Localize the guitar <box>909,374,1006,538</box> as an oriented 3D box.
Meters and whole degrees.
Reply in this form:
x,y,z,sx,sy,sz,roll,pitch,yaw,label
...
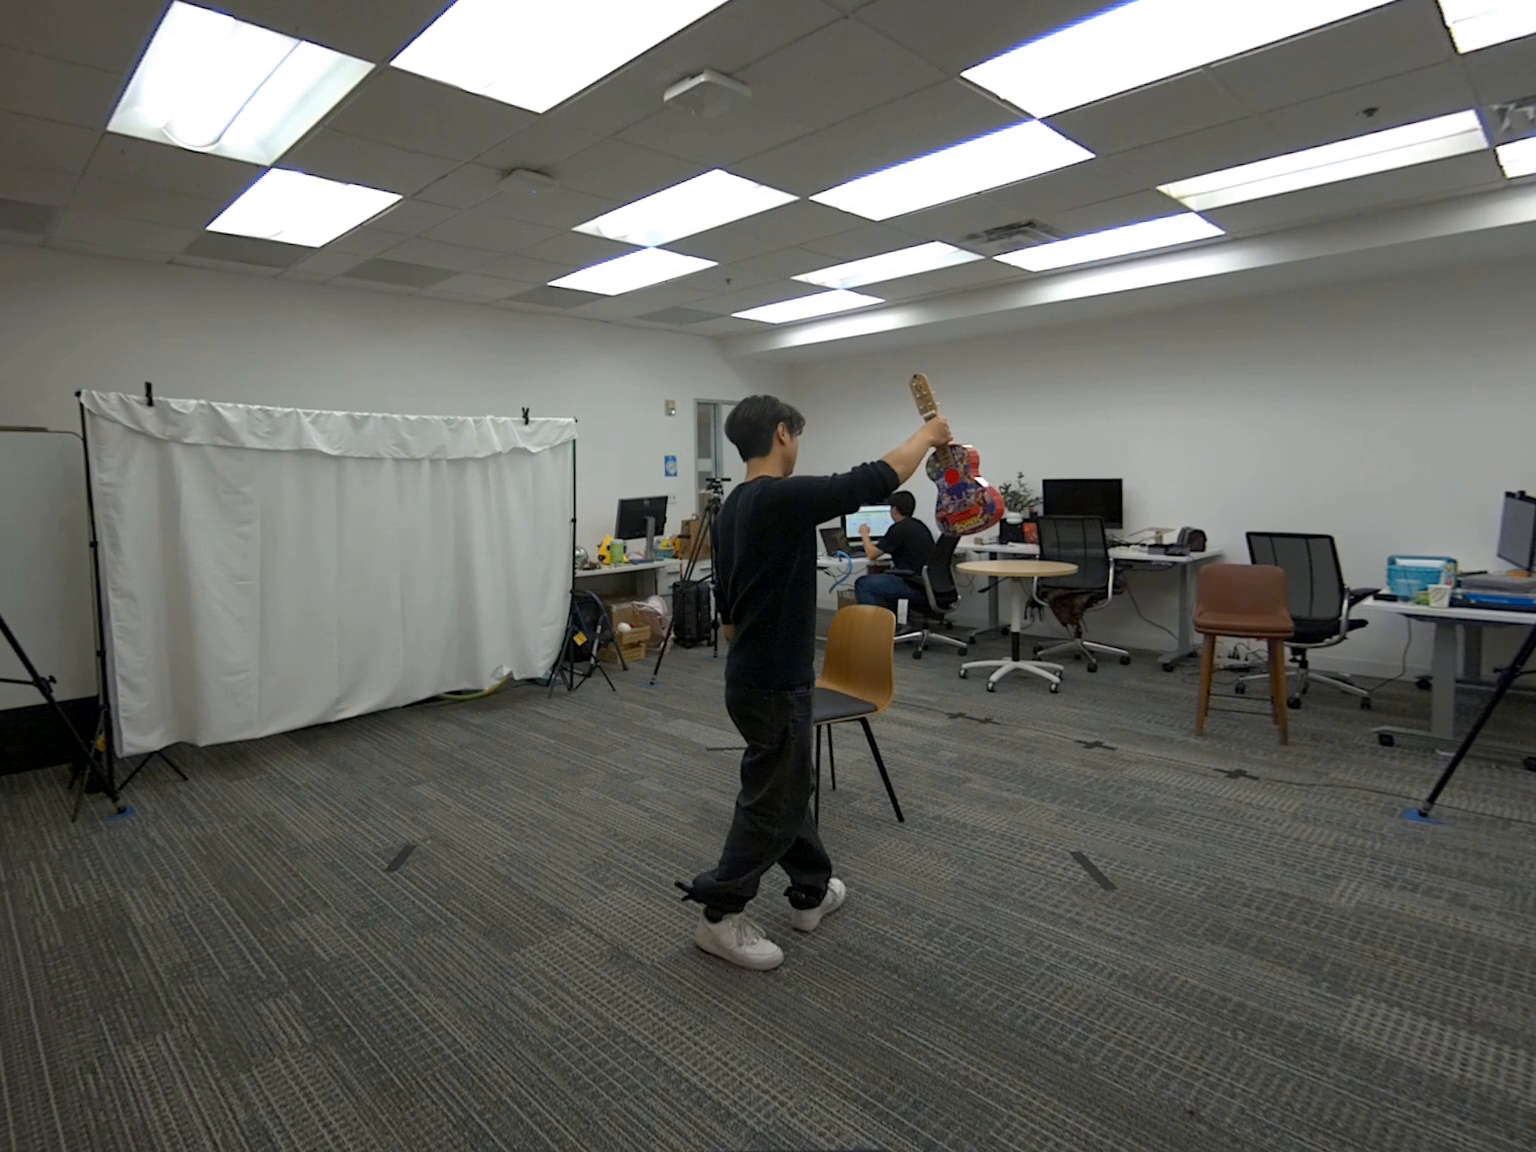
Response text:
x,y,z,sx,sy,sz,roll,pitch,yaw,label
0.548,-0.368,2.513,0.197,0.500,0.069,-14,-6,39,guitar
